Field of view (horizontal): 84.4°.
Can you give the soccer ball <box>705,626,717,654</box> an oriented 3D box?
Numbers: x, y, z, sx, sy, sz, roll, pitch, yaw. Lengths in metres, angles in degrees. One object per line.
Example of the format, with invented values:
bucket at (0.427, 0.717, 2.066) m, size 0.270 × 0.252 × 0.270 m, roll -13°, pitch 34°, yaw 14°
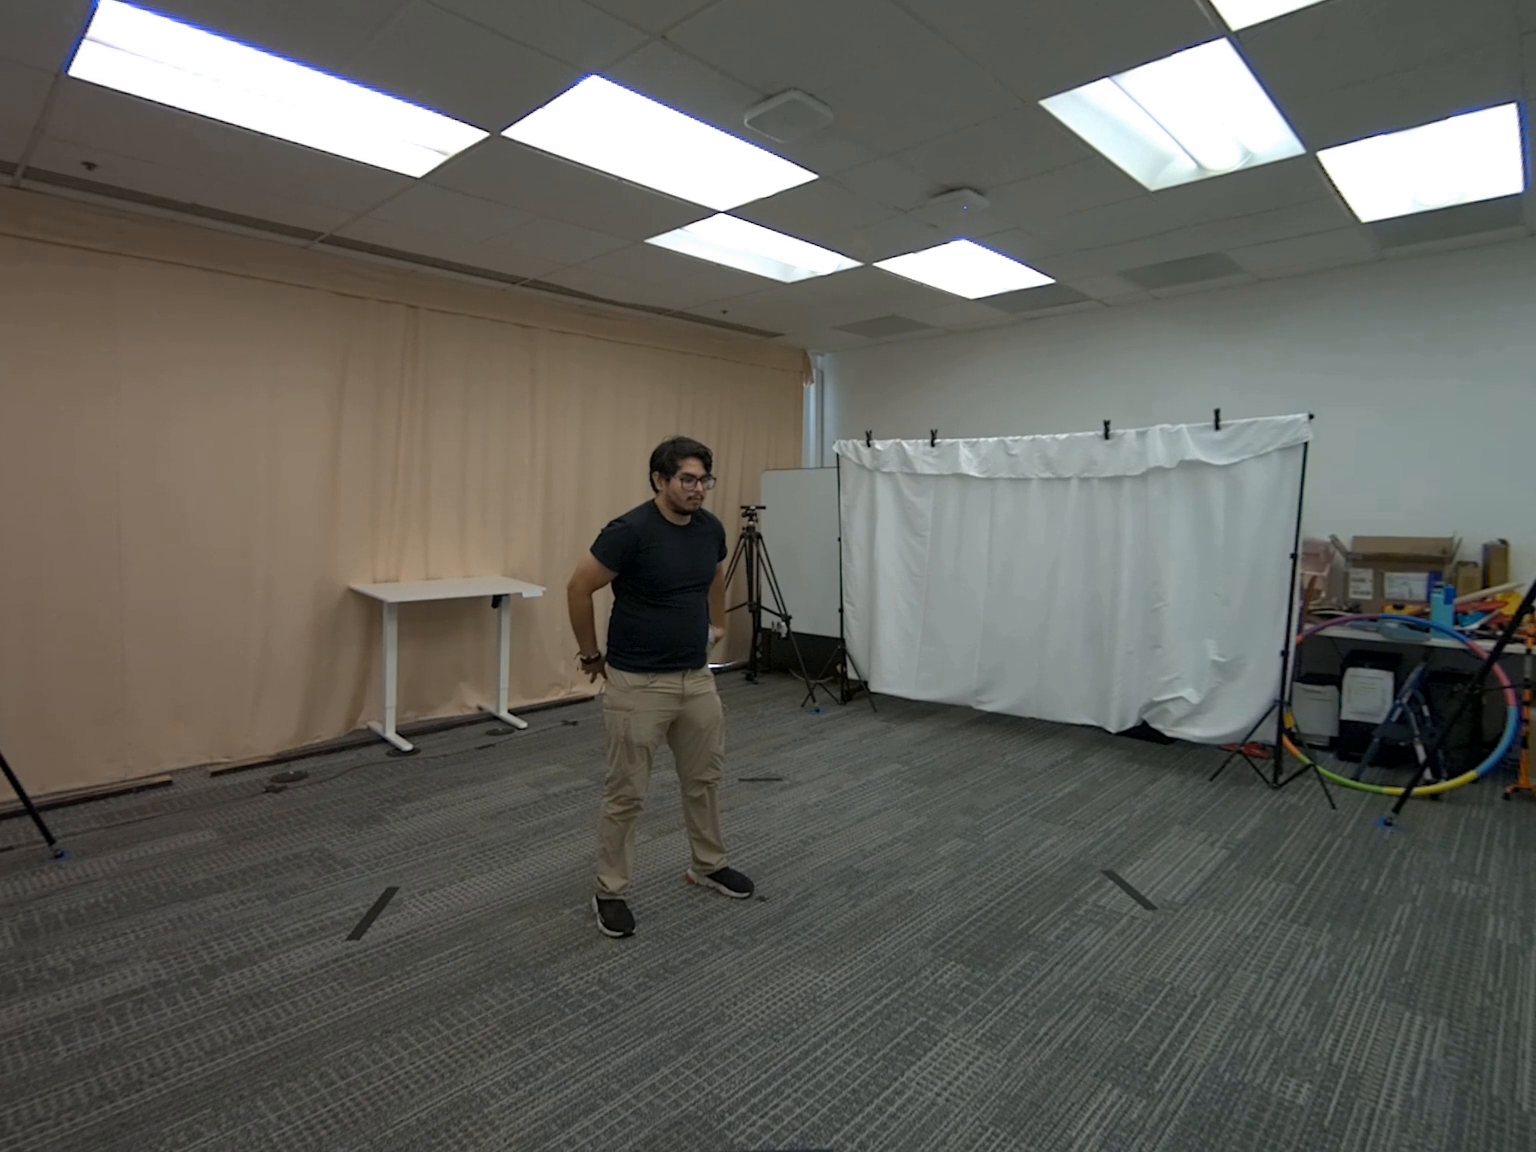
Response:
soccer ball at (-0.294, 0.226, 3.121) m, size 0.187 × 0.187 × 0.188 m, roll 0°, pitch 4°, yaw -2°
